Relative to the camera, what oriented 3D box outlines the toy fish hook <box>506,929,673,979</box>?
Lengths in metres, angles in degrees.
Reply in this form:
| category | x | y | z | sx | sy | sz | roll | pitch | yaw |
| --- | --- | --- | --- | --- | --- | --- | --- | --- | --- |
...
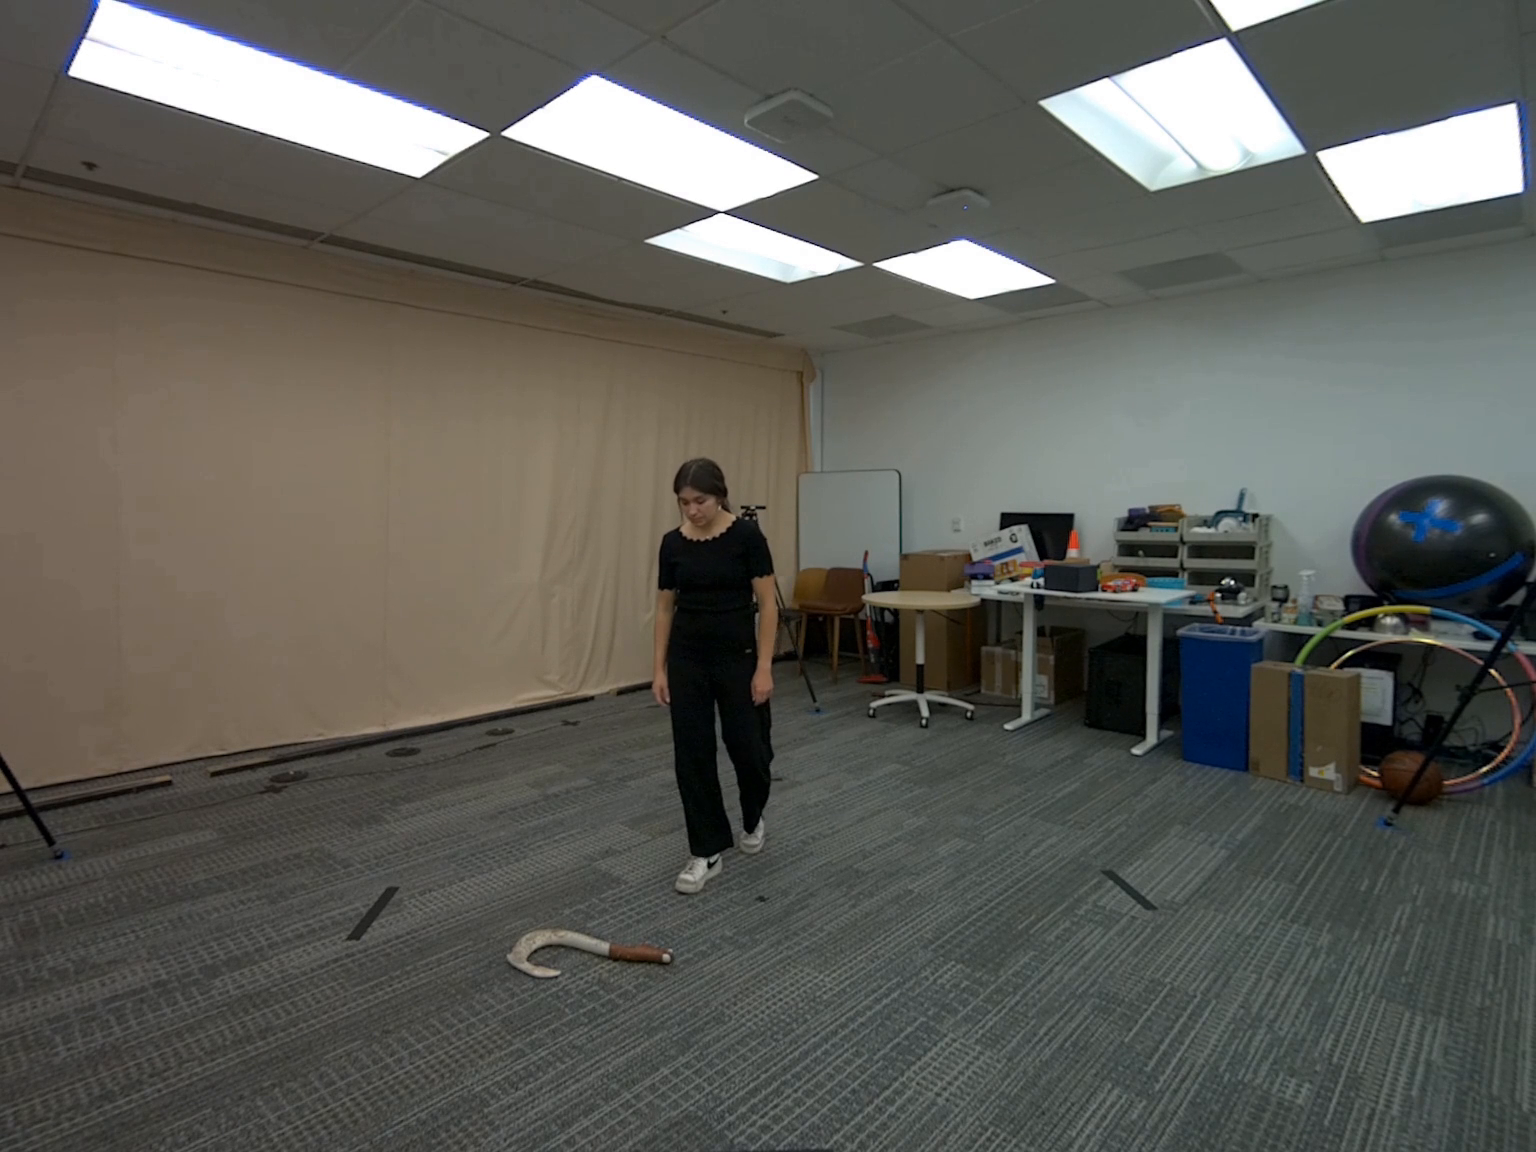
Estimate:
| category | x | y | z | sx | sy | sz | roll | pitch | yaw |
| --- | --- | --- | --- | --- | --- | --- | --- | --- | --- |
| toy fish hook | -0.541 | 1.164 | 2.567 | 0.514 | 0.048 | 0.223 | -1 | 12 | 13 |
